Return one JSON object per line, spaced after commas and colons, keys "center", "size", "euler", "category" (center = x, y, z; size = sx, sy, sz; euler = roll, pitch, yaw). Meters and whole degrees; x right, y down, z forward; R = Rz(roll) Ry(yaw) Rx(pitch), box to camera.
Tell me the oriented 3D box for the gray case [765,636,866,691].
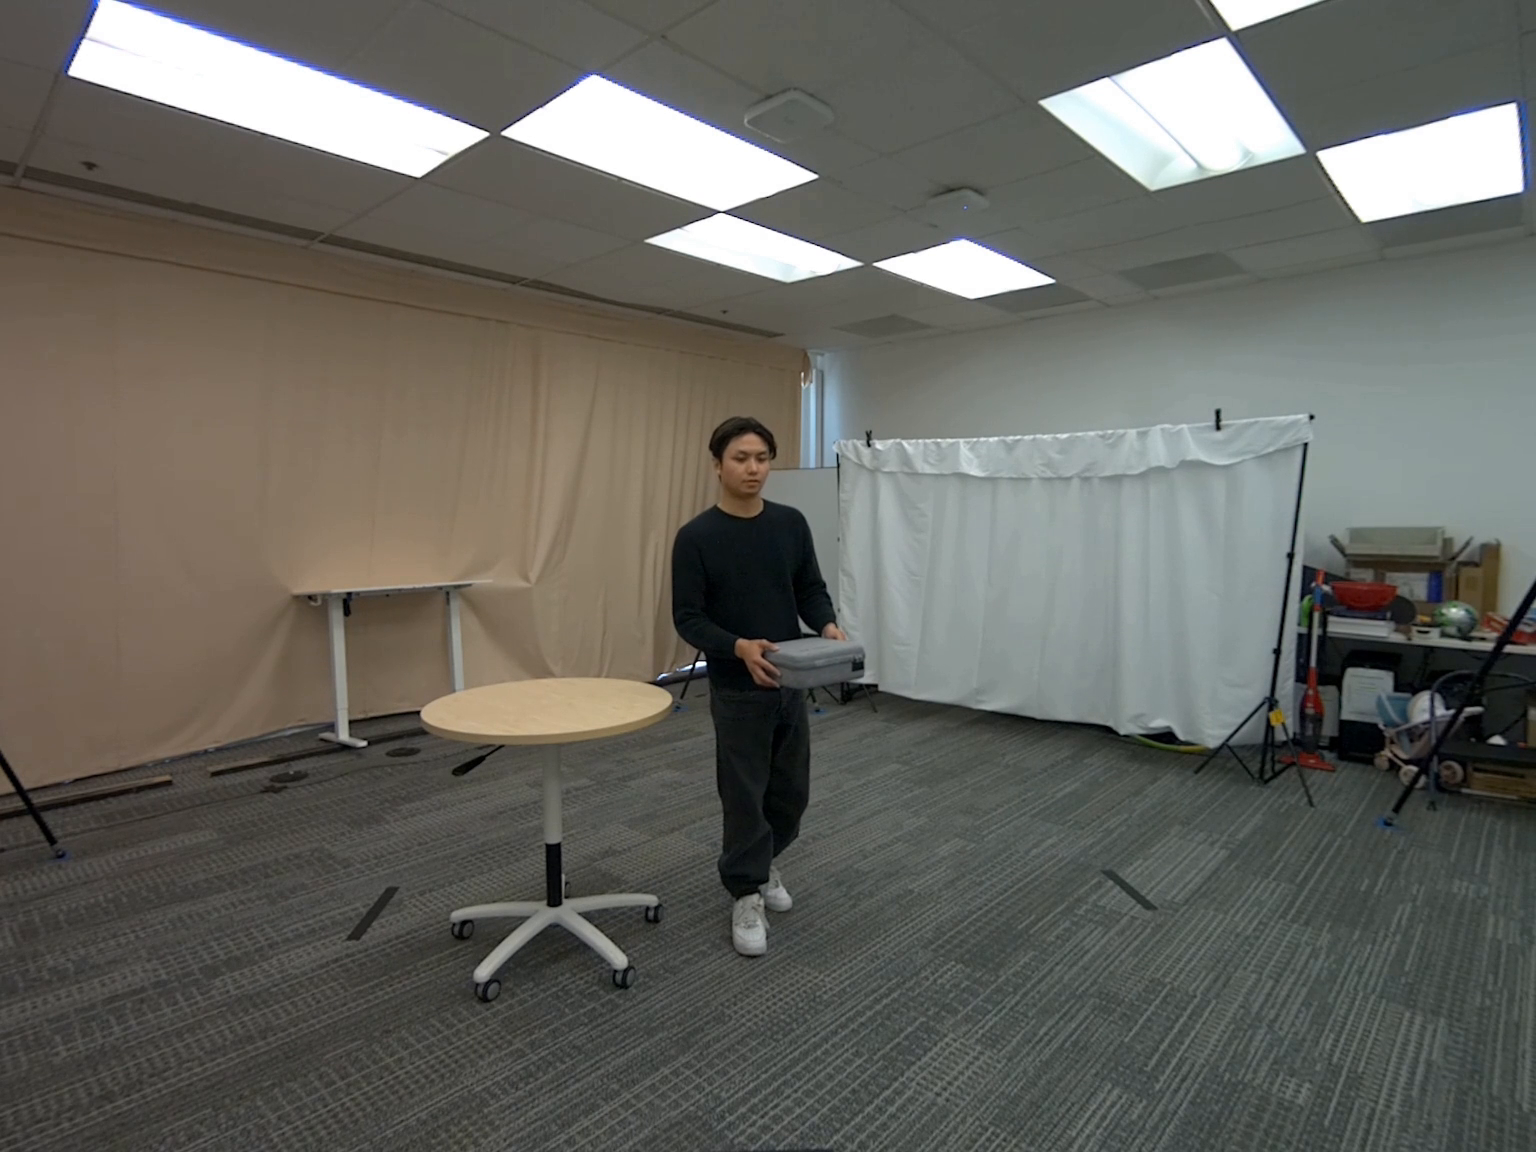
{"center": [0.119, 0.253, 2.482], "size": [0.250, 0.104, 0.268], "euler": [-8, 6, -32], "category": "gray case"}
